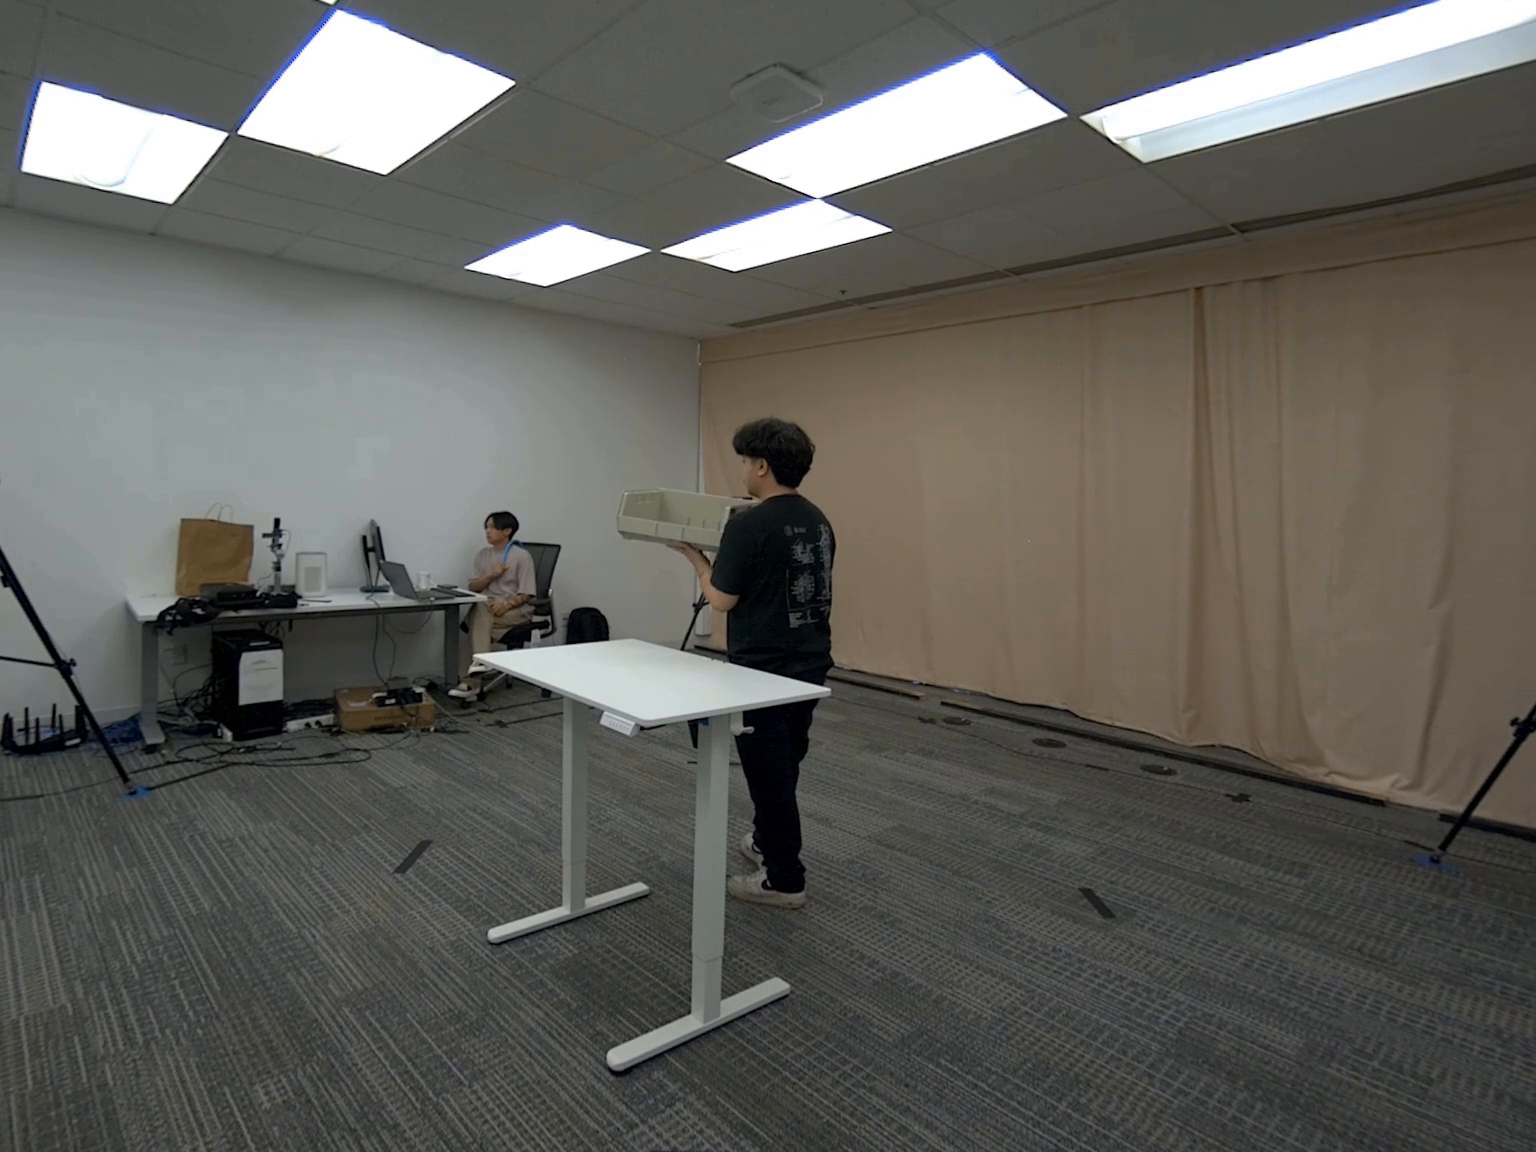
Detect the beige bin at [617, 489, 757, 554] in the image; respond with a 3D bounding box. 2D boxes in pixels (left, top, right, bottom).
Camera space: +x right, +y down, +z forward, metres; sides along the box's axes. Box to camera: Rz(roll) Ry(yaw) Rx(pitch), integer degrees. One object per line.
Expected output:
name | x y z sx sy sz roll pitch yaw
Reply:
beige bin | -0.300 -0.207 3.154 0.428 0.188 0.374 8 9 16
